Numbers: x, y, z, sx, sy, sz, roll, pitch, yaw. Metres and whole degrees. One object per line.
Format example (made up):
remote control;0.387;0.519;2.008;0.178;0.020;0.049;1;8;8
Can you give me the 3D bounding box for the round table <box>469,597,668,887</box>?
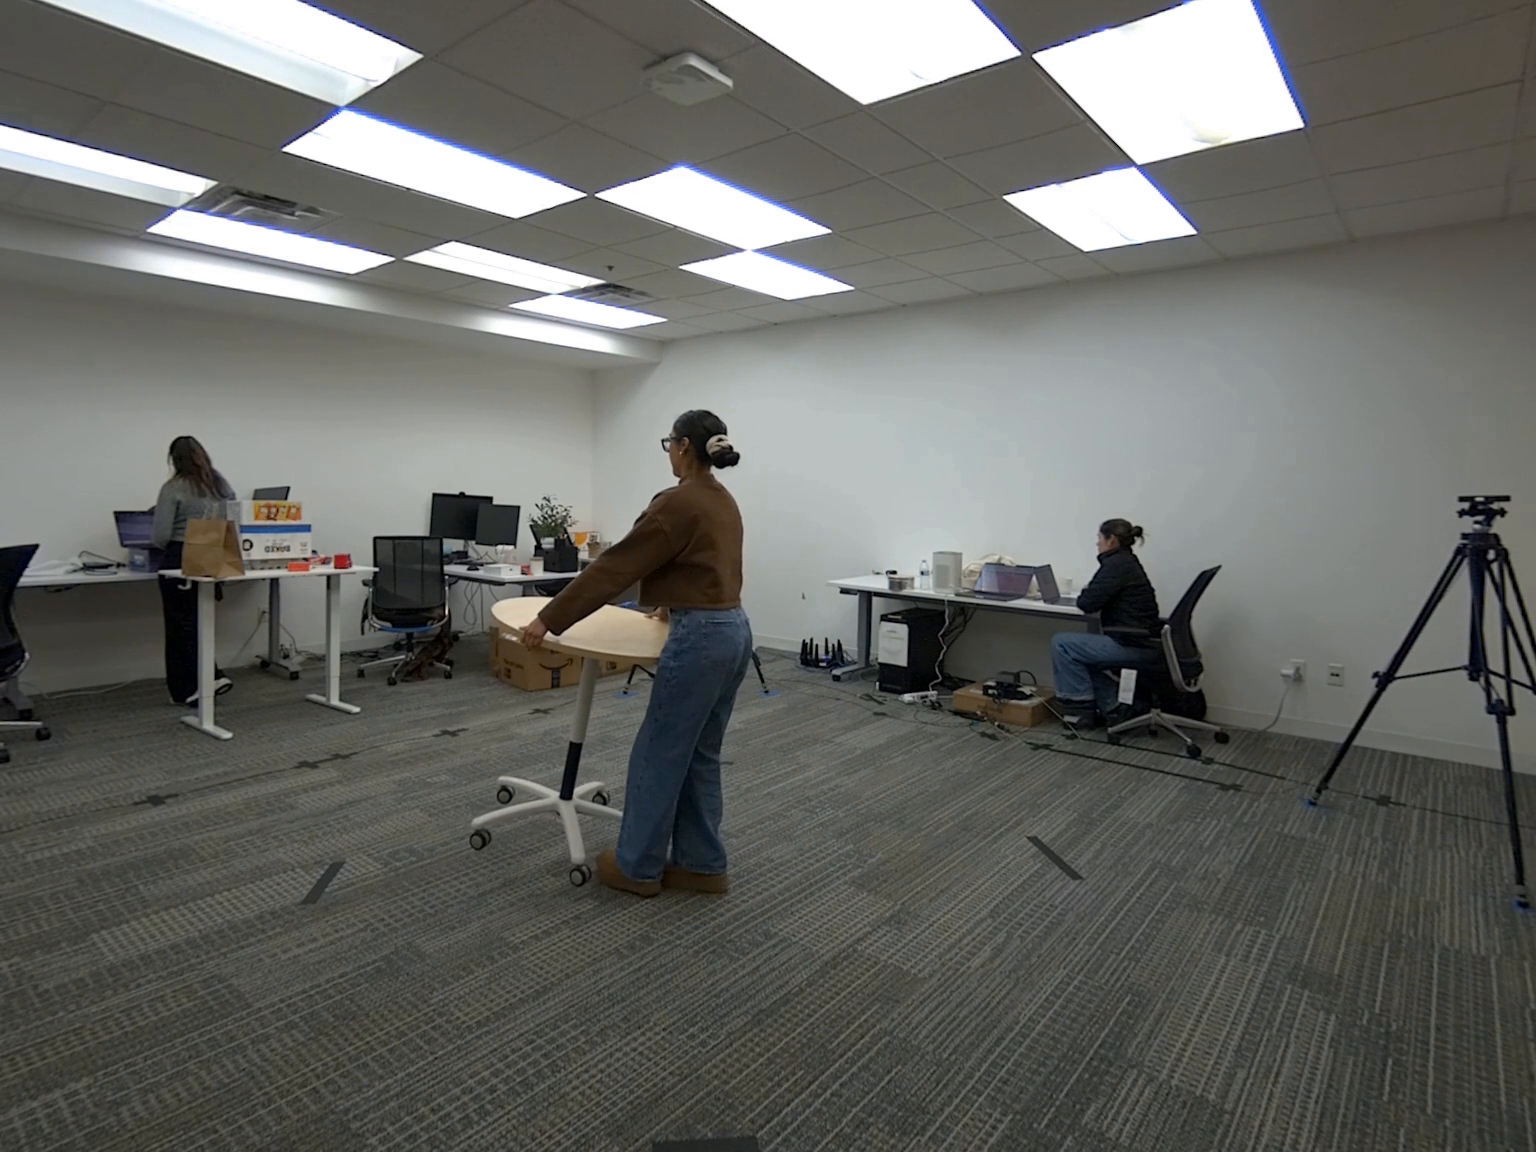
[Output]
round table;-0.722;0.566;3.113;0.783;0.783;0.790;11;6;-3
